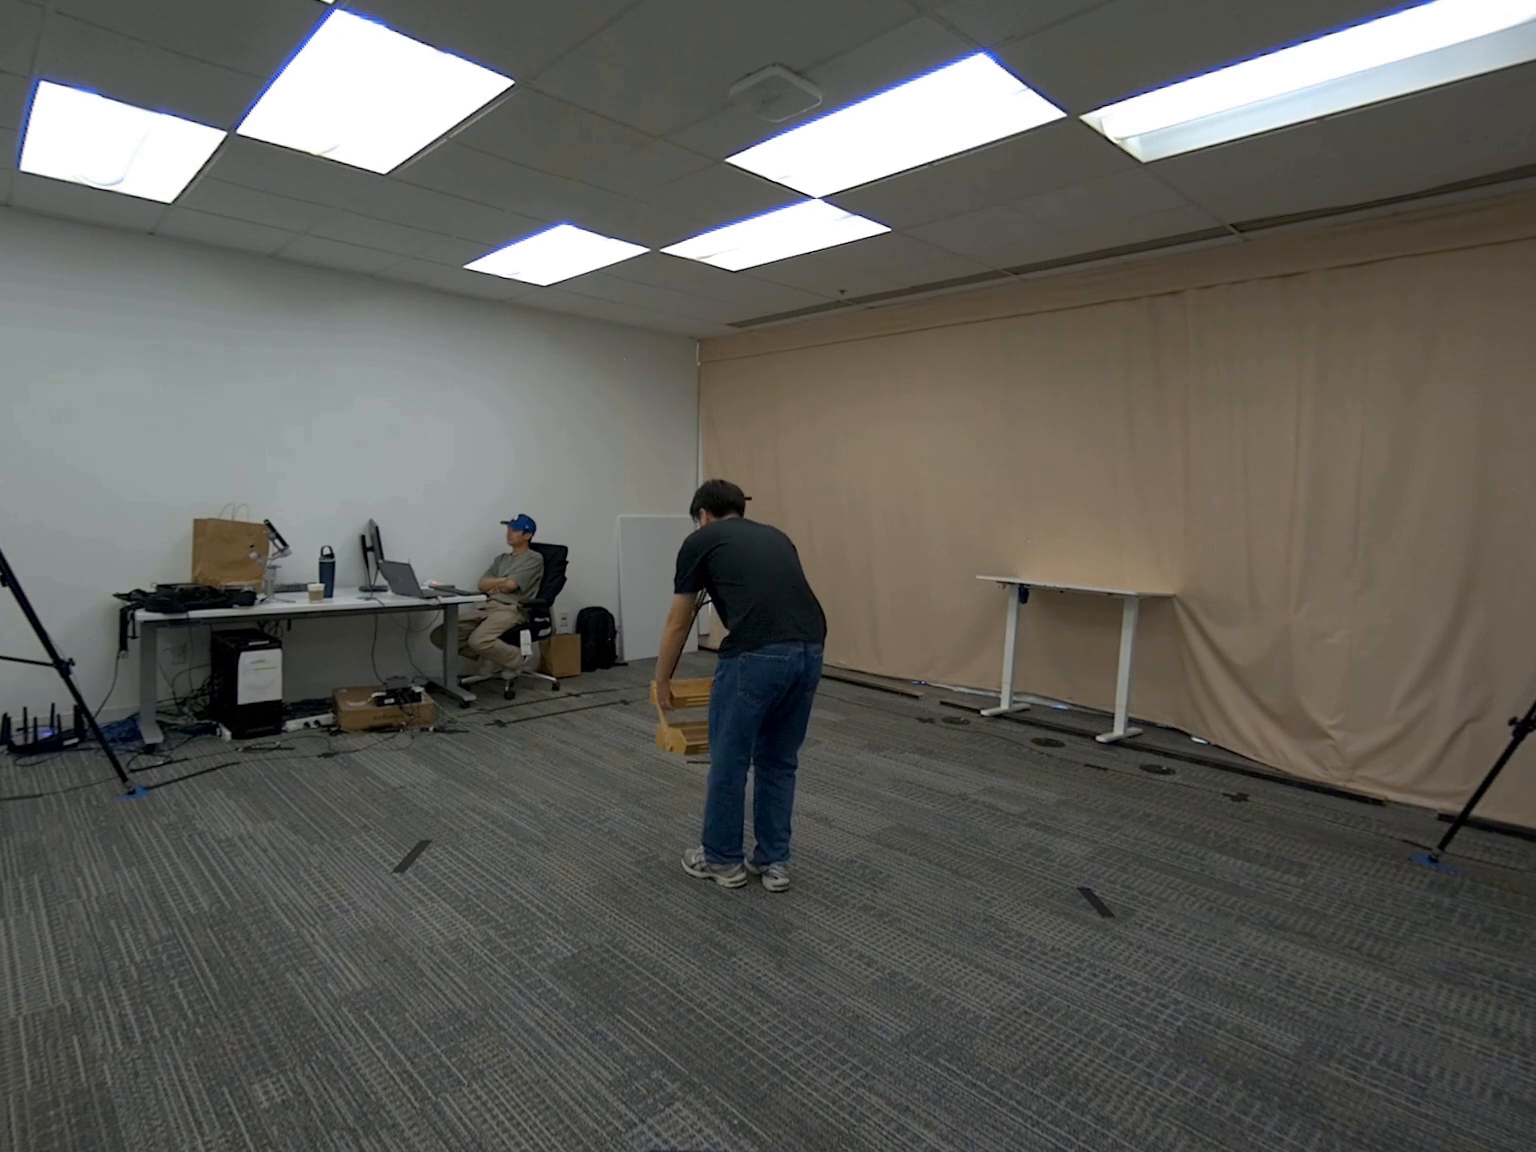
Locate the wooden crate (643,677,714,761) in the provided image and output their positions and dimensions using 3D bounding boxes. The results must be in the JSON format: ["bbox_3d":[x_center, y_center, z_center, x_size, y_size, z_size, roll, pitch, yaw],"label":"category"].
[{"bbox_3d":[-0.286,0.561,3.391,0.317,0.274,0.308,2,-4,-34],"label":"wooden crate"}]
